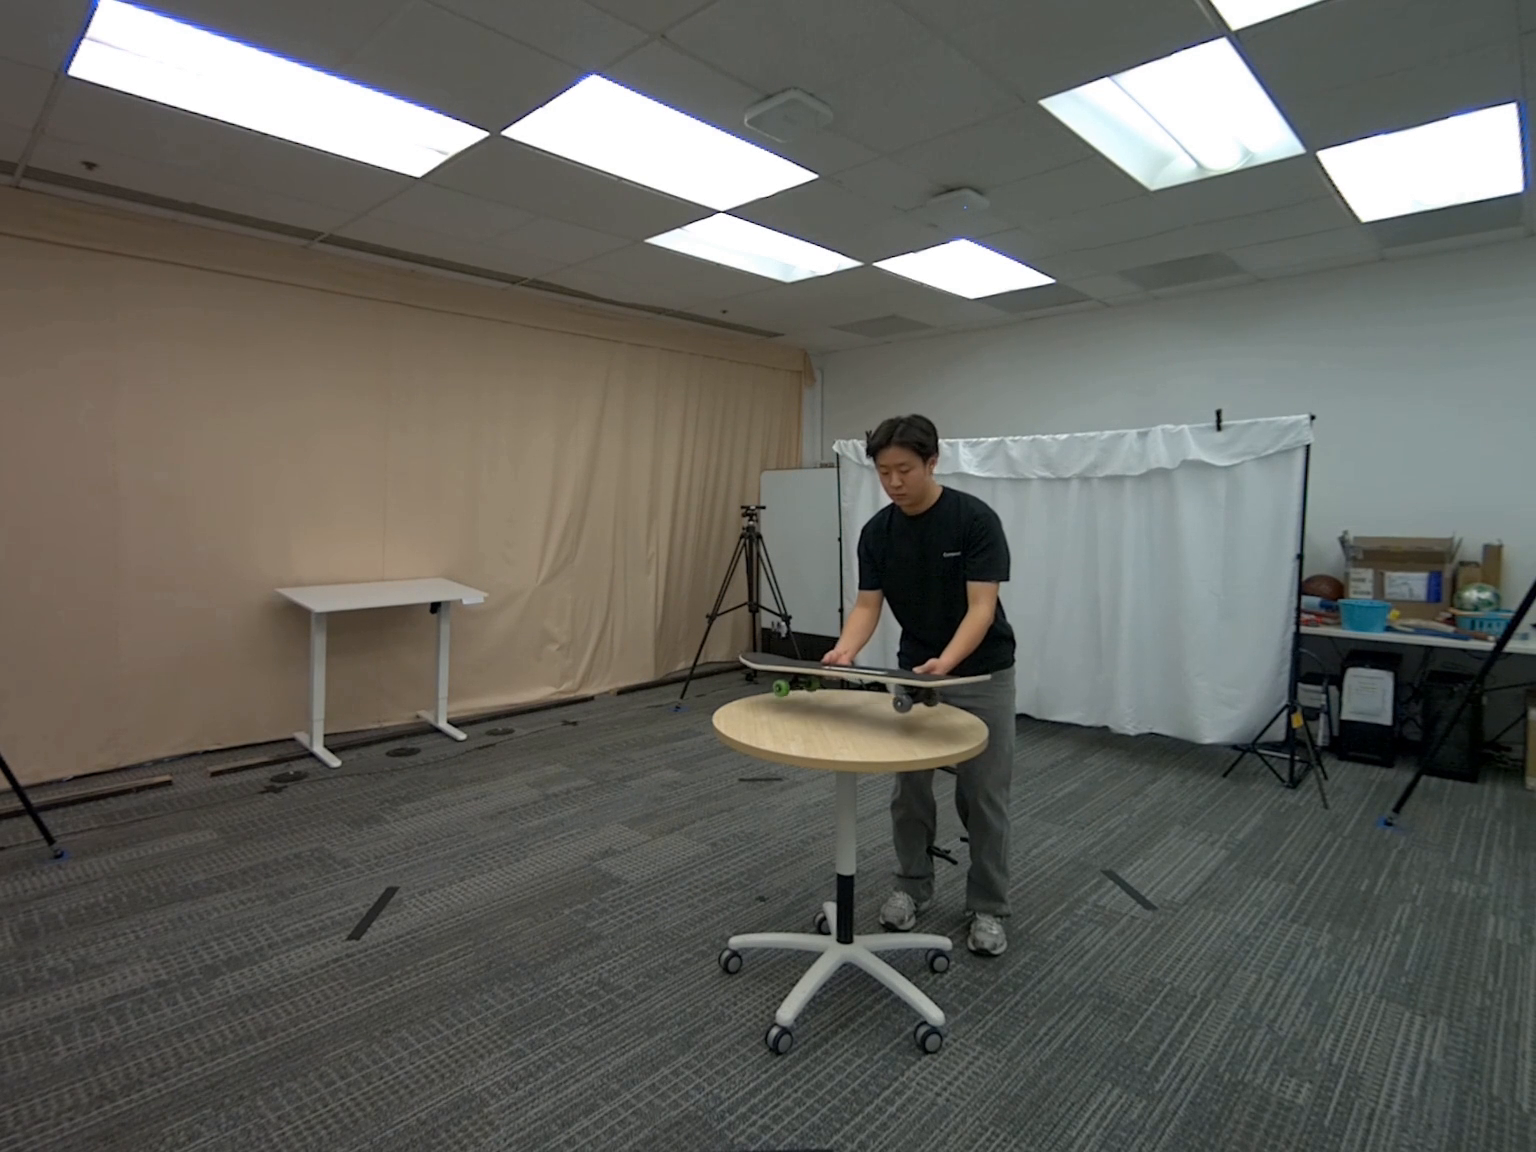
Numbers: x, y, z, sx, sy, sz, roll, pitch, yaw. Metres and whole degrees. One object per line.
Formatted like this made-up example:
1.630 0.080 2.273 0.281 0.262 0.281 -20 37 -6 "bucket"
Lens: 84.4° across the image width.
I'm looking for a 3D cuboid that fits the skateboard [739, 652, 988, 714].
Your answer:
0.251 0.302 2.387 0.811 0.110 0.187 1 -1 40 "skateboard"
